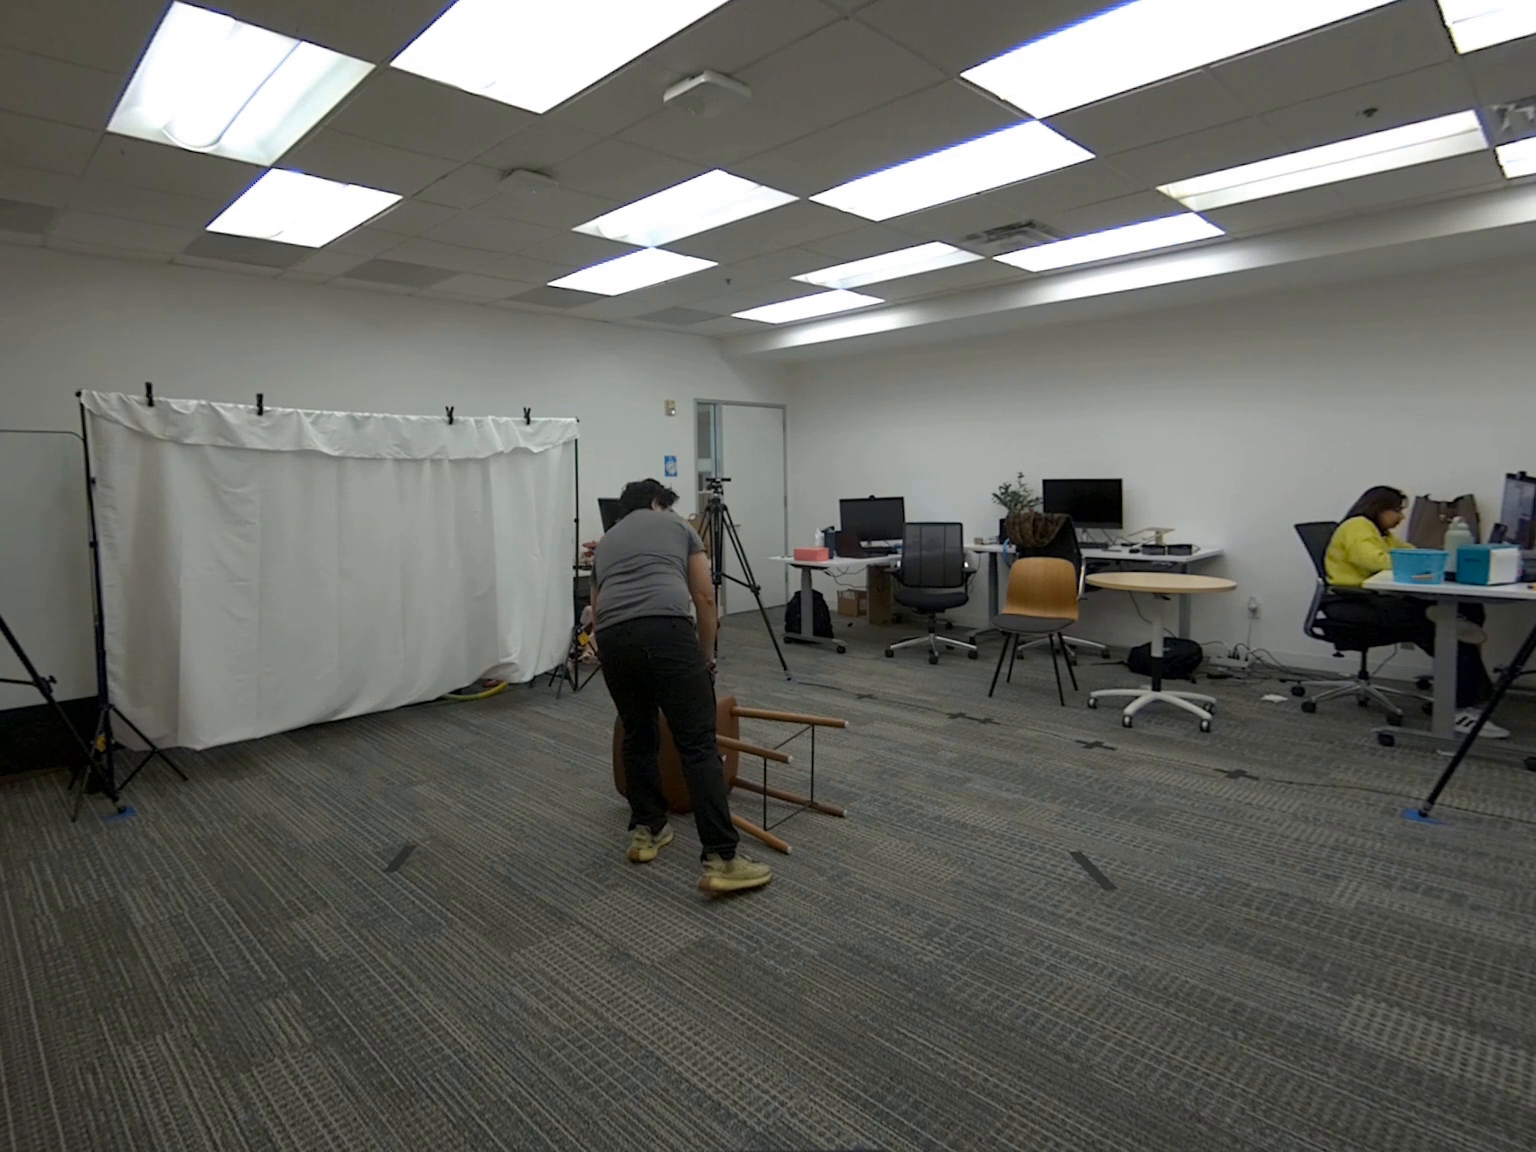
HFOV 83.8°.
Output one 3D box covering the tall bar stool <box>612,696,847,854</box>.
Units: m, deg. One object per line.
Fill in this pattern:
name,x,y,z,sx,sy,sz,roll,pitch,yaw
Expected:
tall bar stool,-0.167,0.779,3.576,0.916,0.453,0.457,6,10,33
